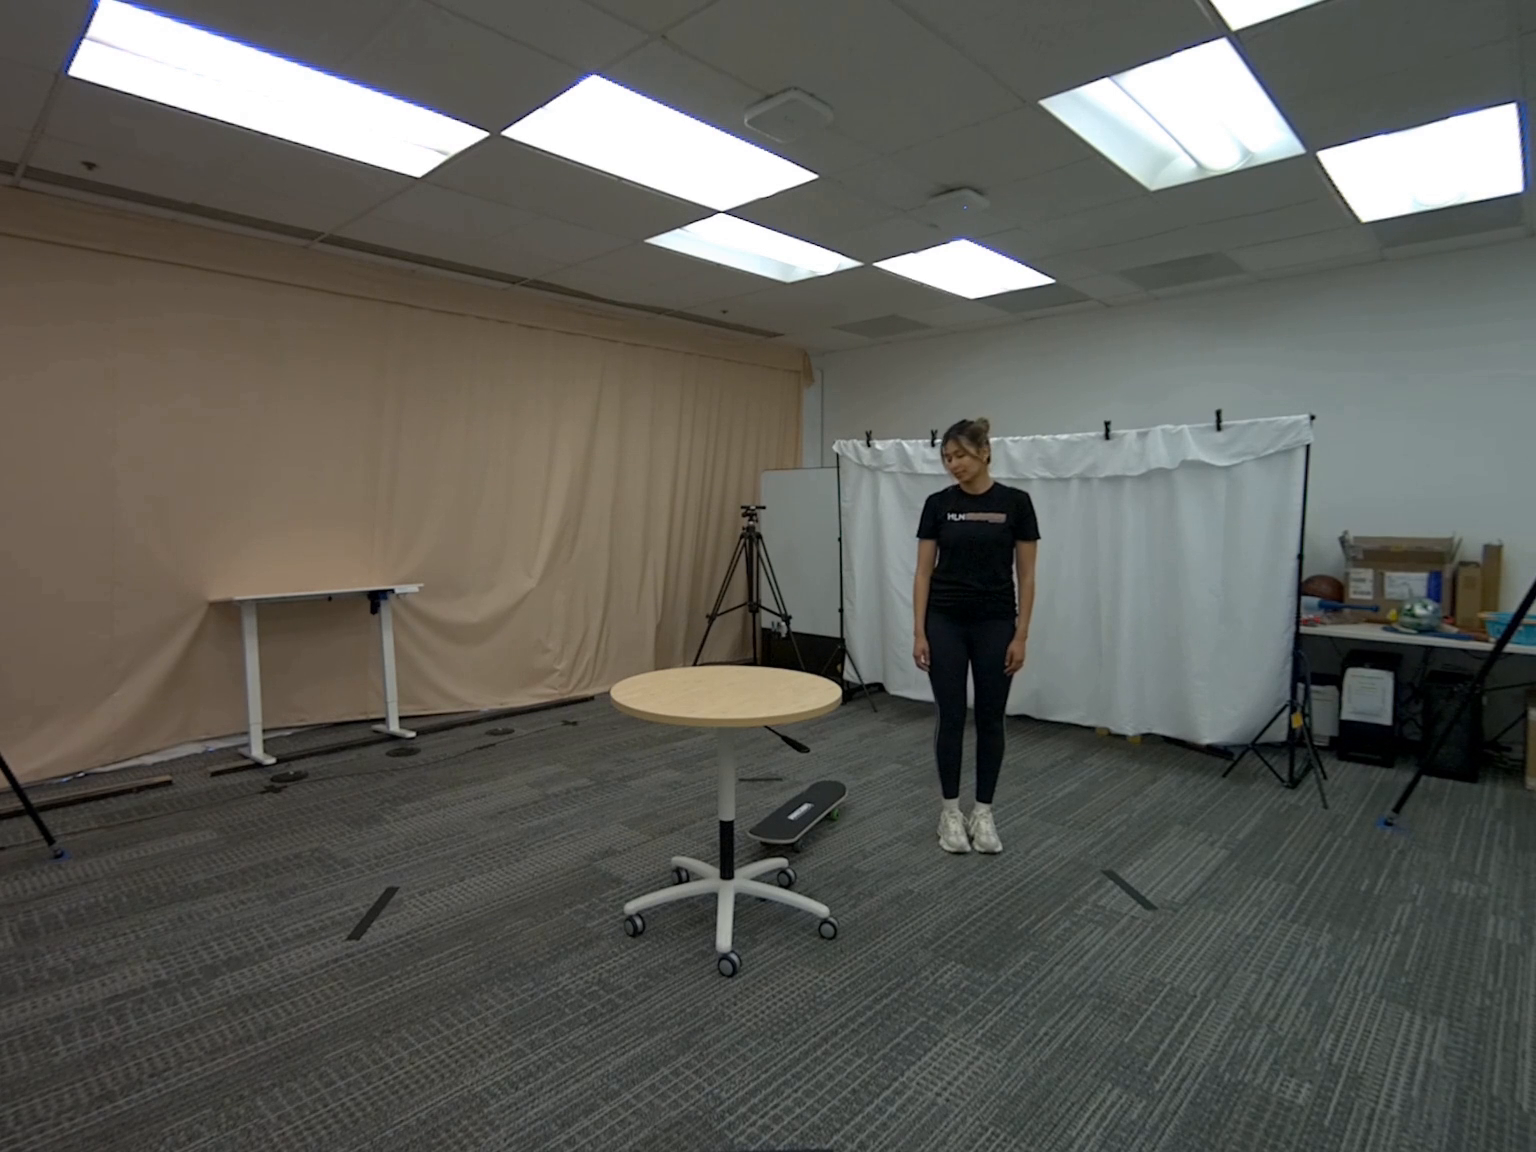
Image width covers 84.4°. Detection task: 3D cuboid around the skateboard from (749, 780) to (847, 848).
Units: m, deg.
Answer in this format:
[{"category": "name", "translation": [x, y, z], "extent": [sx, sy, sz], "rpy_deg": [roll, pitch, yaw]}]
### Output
[{"category": "skateboard", "translation": [0.146, 1.042, 3.598], "extent": [0.199, 0.110, 0.766], "rpy_deg": [3, 5, 26]}]
